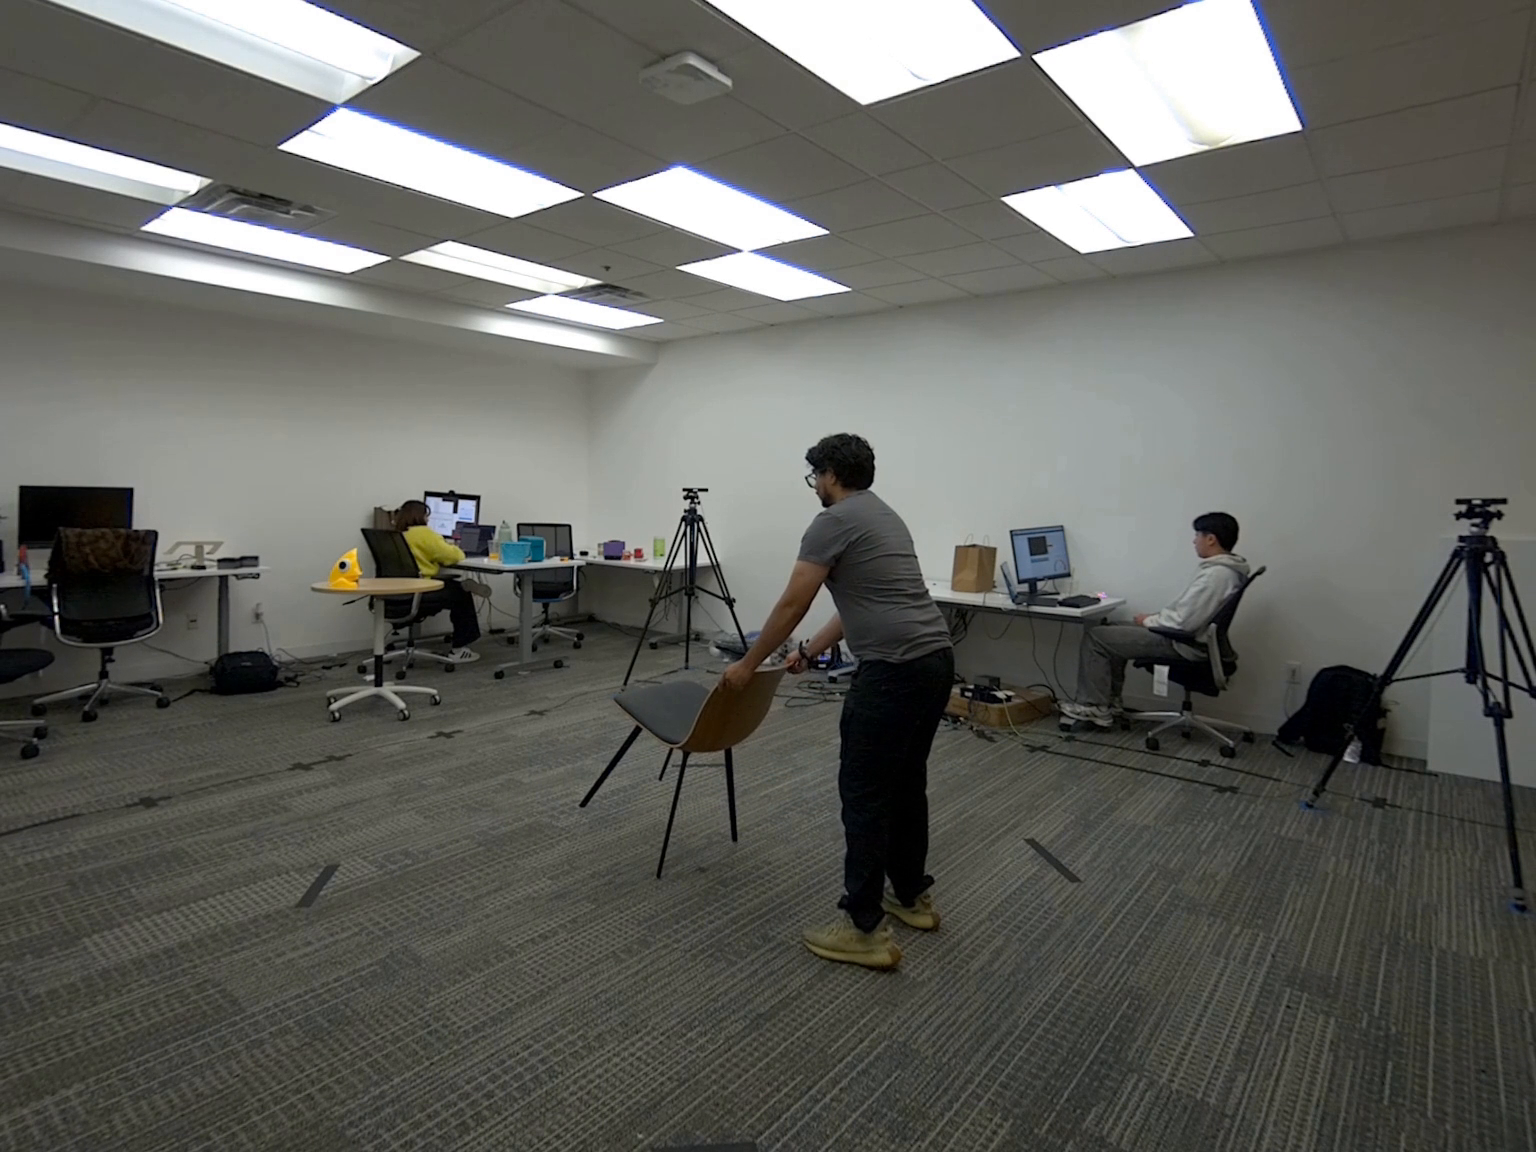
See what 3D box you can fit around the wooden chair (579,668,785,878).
[{"bbox_3d":[-0.318,0.573,3.215,0.544,0.869,0.464,34,22,32],"label":"wooden chair"}]
